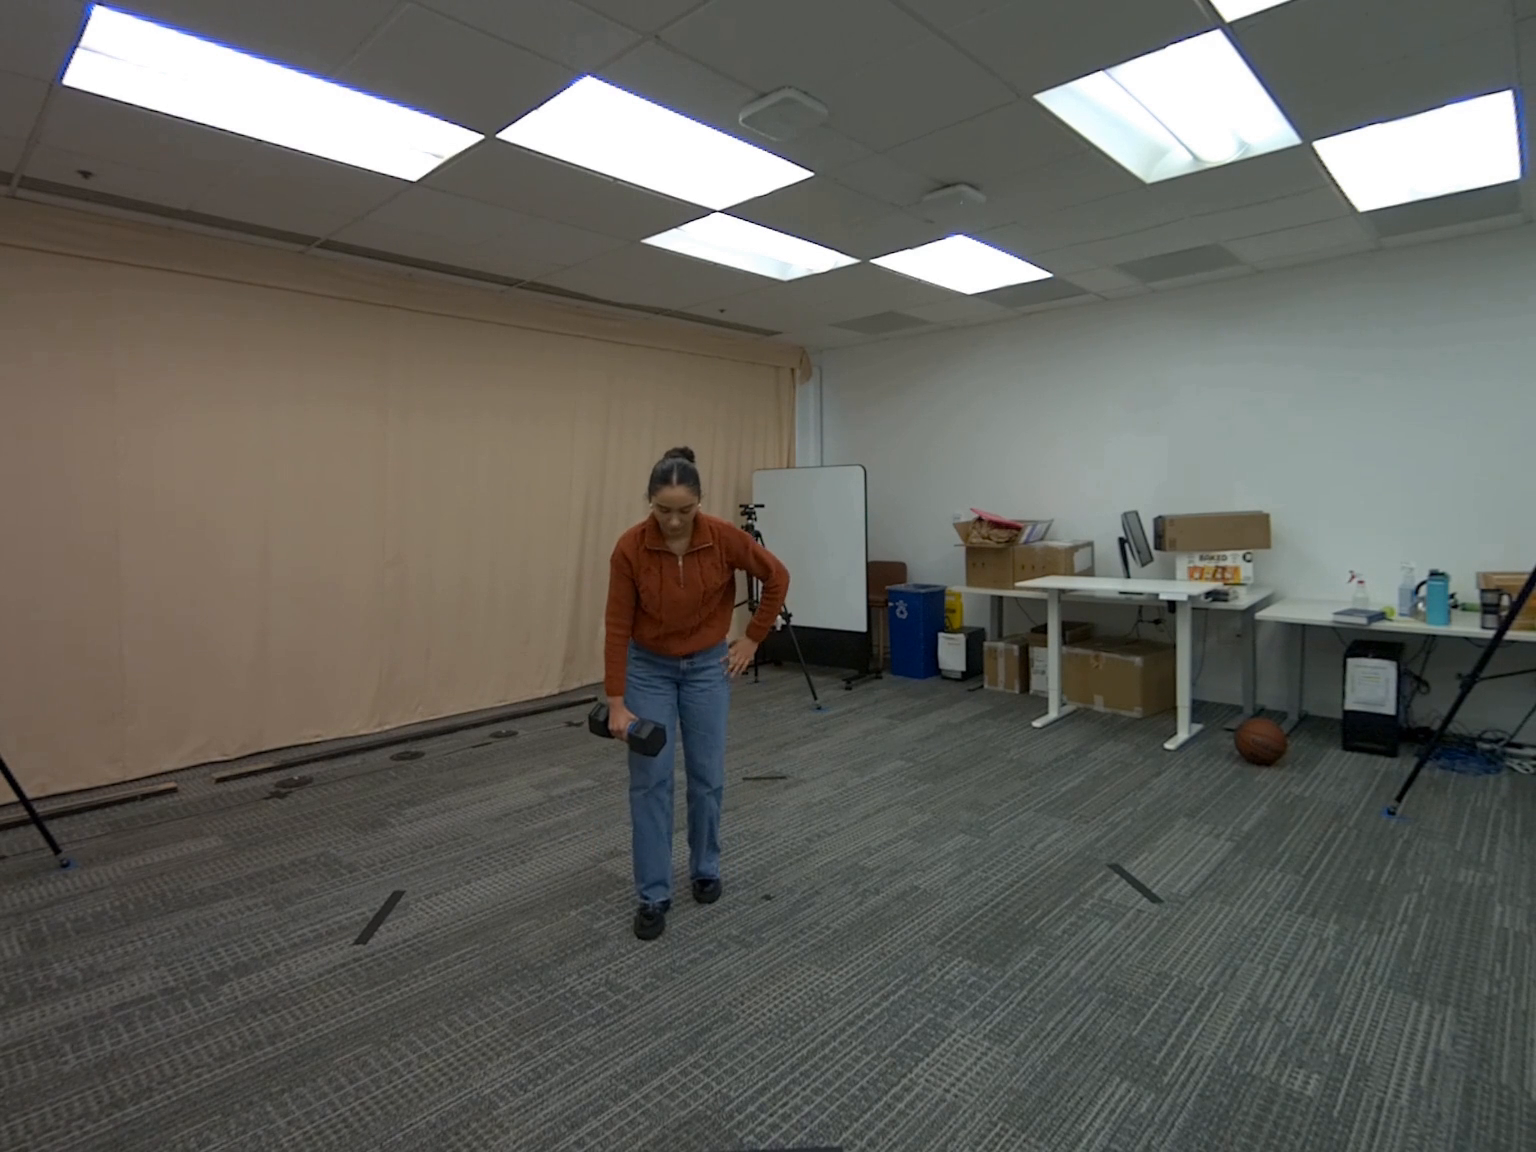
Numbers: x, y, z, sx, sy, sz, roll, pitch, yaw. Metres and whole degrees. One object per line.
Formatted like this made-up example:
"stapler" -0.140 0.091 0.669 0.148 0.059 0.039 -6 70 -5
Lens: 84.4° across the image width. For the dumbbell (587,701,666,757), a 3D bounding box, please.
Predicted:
"dumbbell" -0.473 0.512 2.788 0.304 0.122 0.106 10 20 42
